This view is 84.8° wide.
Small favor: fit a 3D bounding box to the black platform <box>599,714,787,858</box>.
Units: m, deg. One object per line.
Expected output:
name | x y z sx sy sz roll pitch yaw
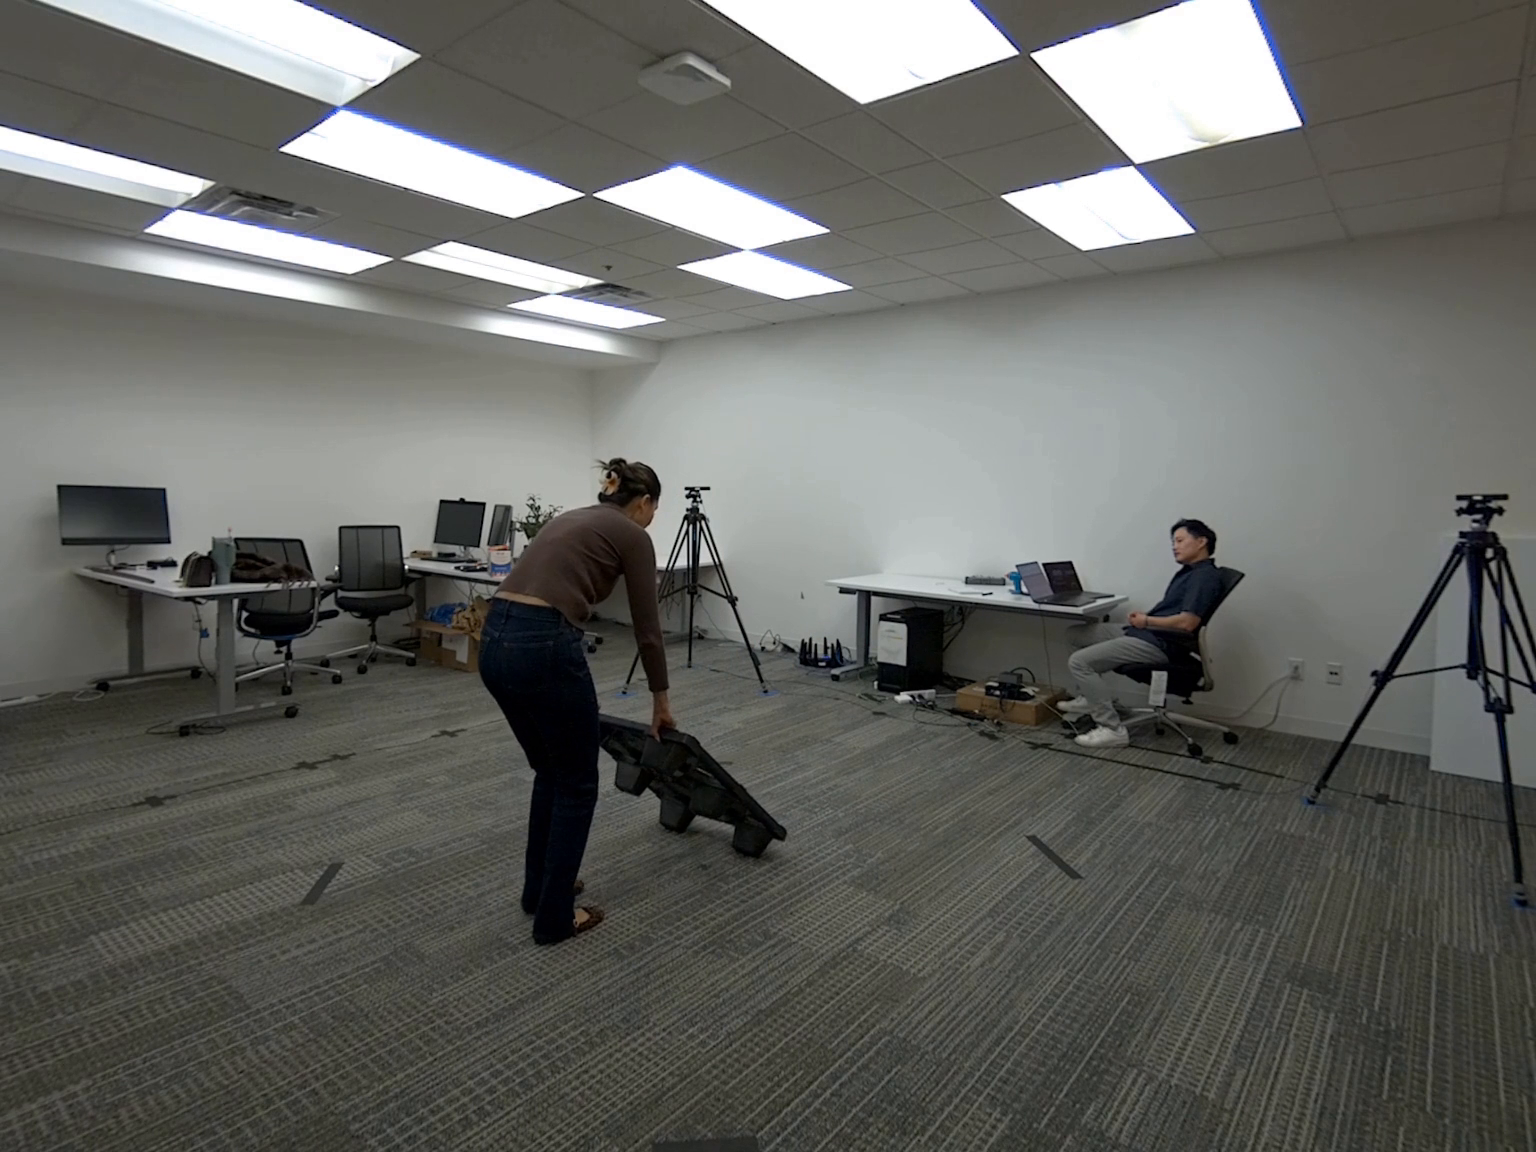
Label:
black platform | -0.372 0.769 3.143 0.624 0.144 0.773 3 -37 36
